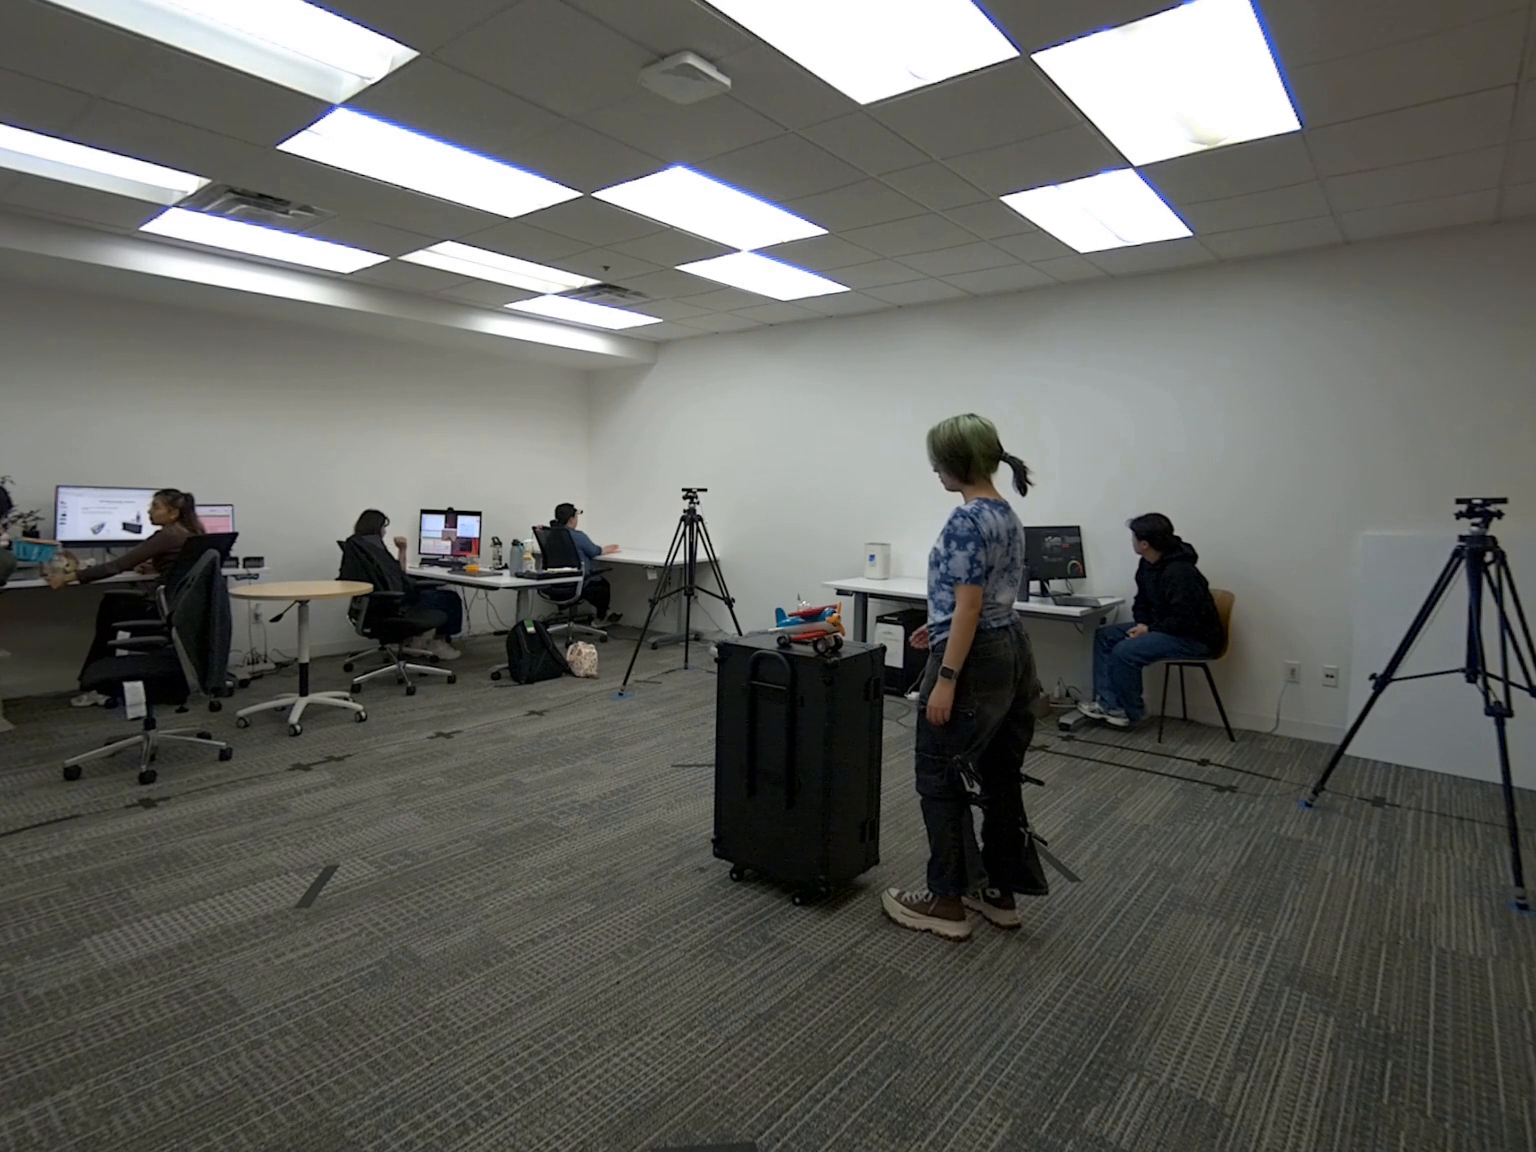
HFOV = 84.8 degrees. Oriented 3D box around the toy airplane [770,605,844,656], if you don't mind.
[{"bbox_3d":[0.117,0.171,2.885,0.262,0.156,0.249,3,6,9],"label":"toy airplane"}]
